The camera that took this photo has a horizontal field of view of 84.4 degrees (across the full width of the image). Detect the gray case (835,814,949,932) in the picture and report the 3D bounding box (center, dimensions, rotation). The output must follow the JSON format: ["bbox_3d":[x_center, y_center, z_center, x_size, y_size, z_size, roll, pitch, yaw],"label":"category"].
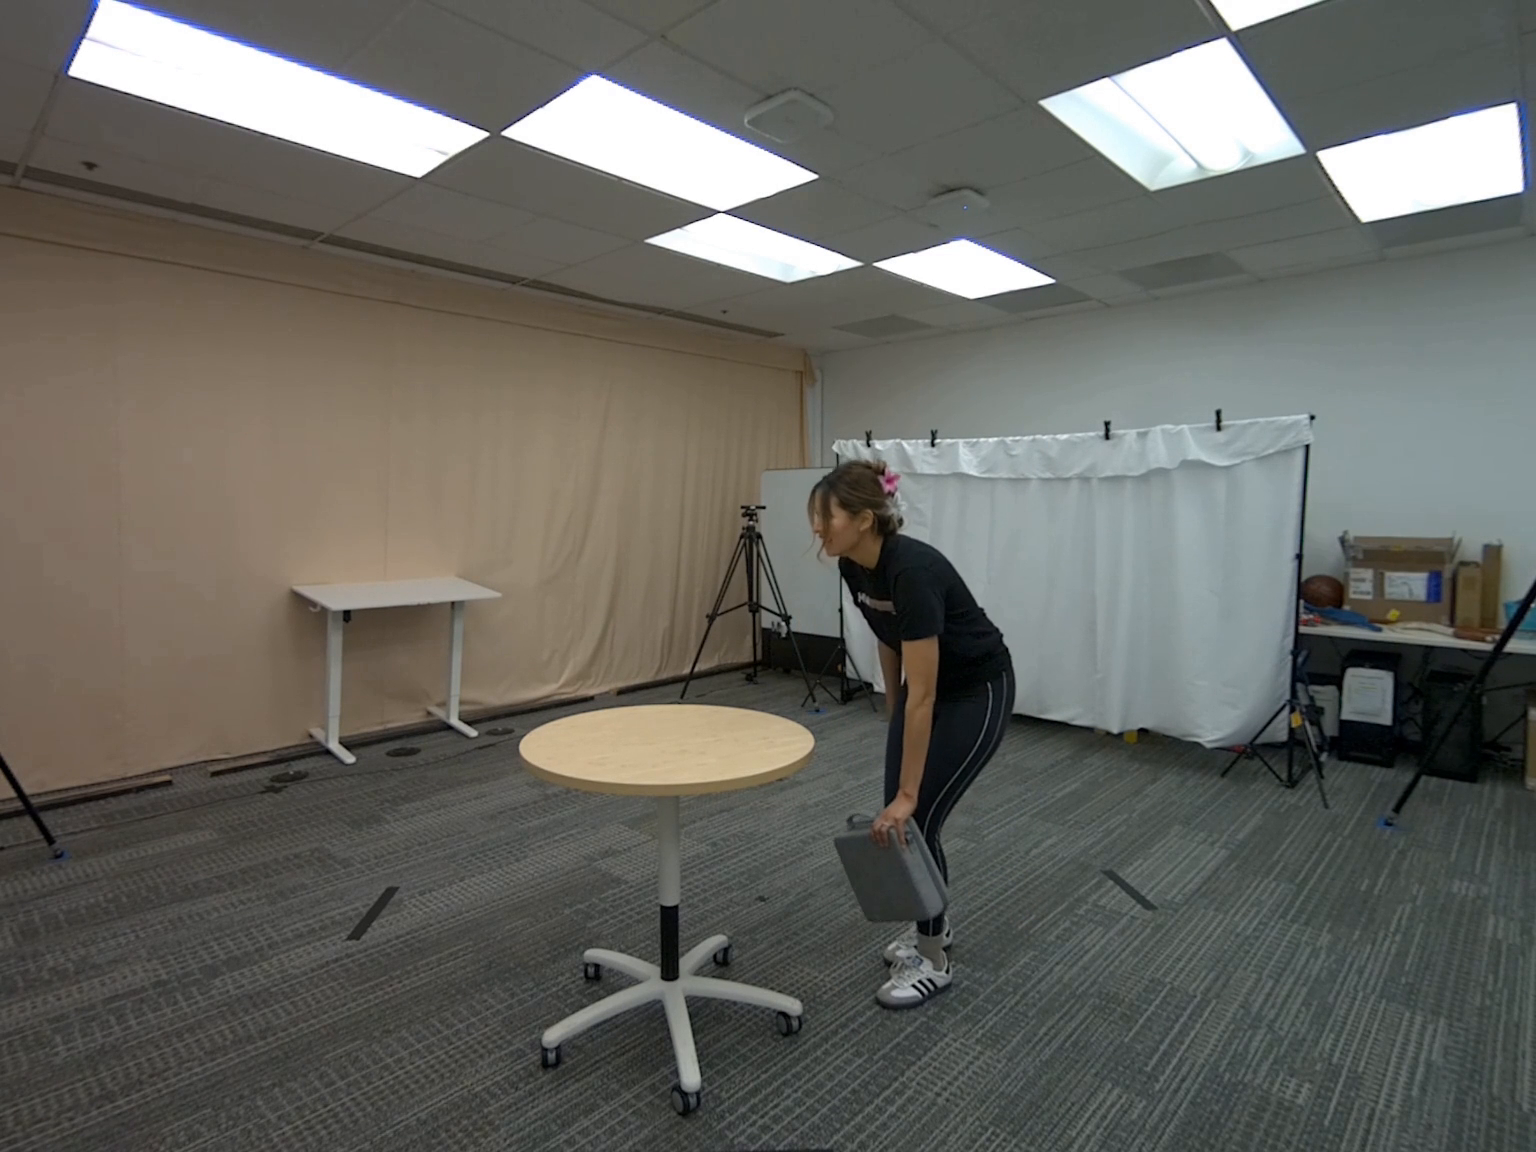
[{"bbox_3d":[0.331,0.777,2.230,0.102,0.263,0.261,-18,-8,-36],"label":"gray case"}]
